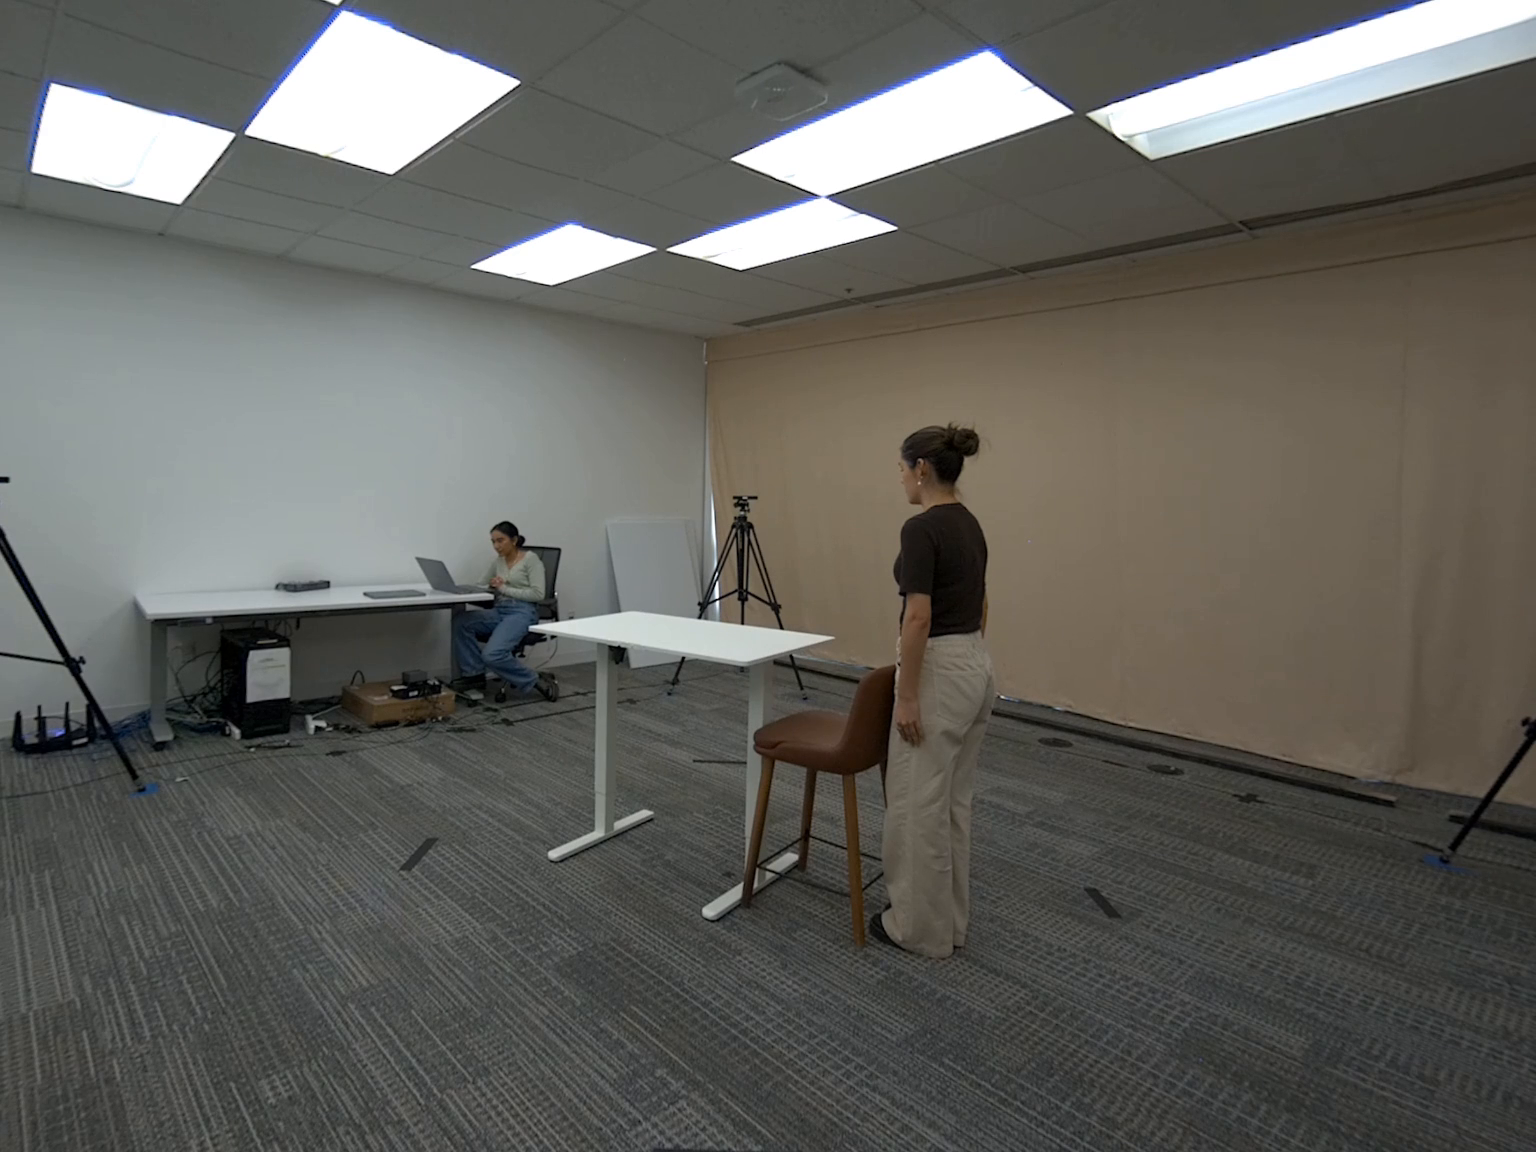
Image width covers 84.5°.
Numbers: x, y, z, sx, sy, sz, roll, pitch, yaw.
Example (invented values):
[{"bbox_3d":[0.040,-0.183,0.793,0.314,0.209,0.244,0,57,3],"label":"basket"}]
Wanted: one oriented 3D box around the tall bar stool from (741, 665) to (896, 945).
[{"bbox_3d":[0.222,0.692,2.866,0.479,0.886,0.447,7,6,34],"label":"tall bar stool"}]
